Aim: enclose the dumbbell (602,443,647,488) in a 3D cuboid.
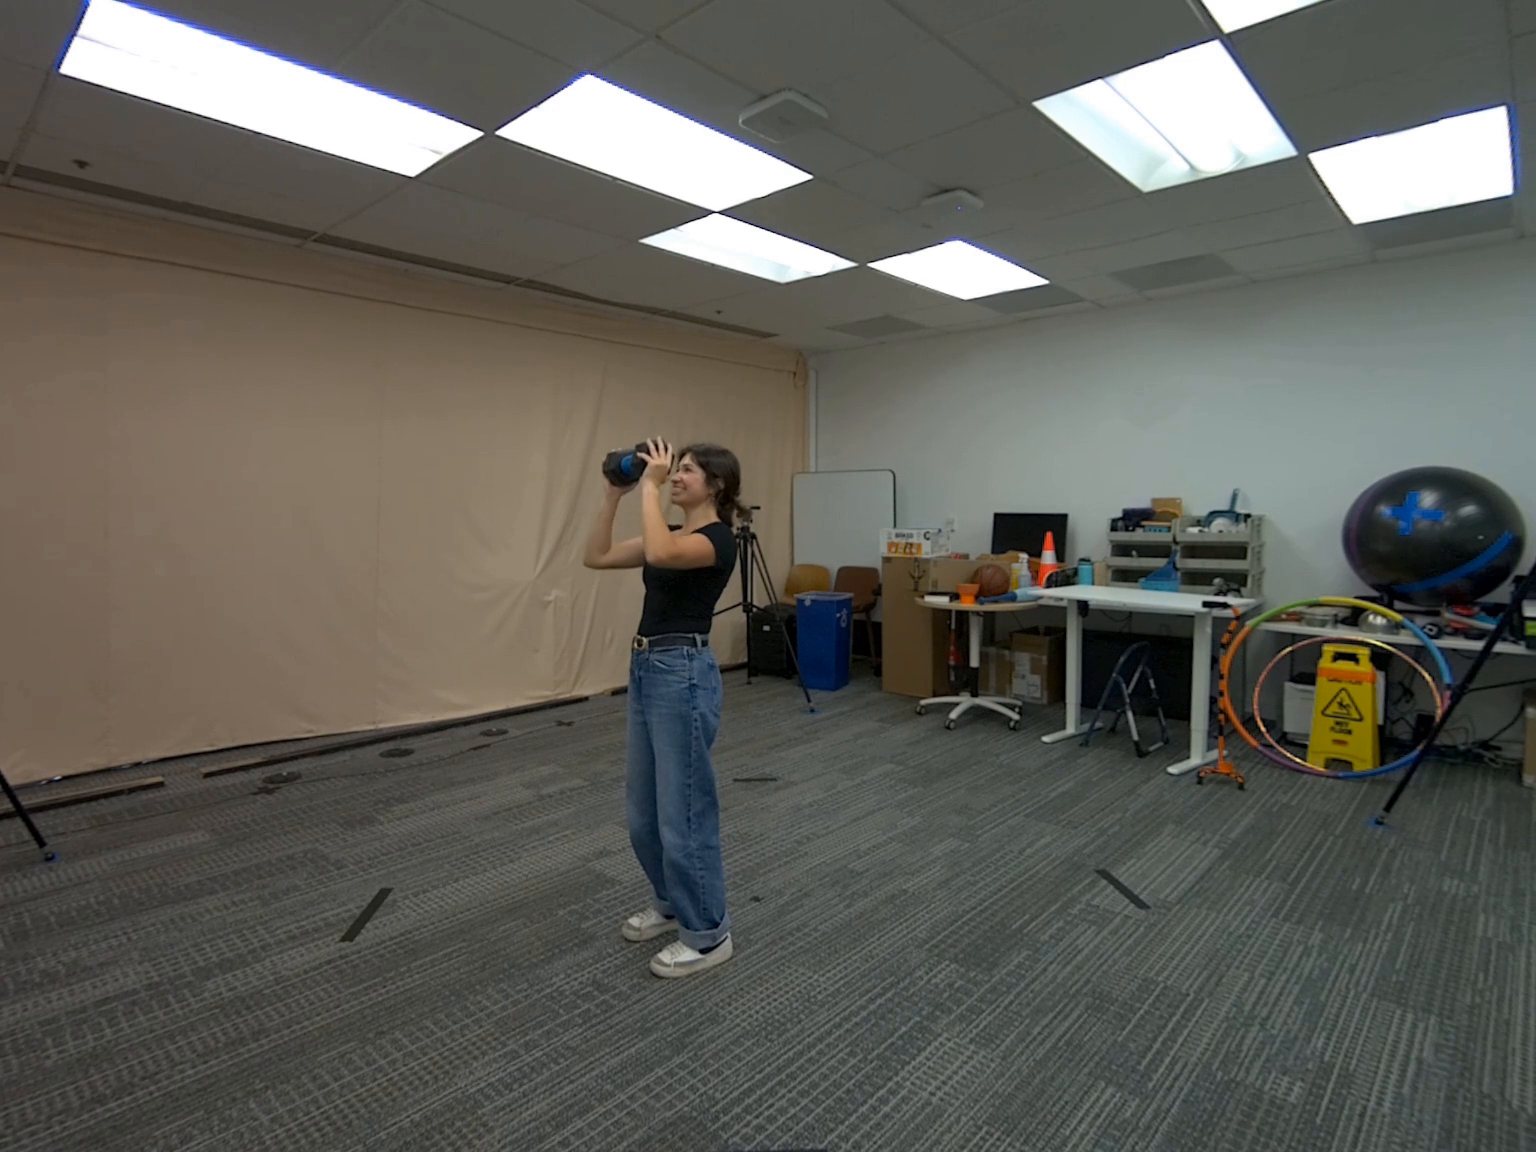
[{"bbox_3d":[-0.392,-0.348,2.584,0.108,0.120,0.302,-46,22,-22],"label":"dumbbell"}]
